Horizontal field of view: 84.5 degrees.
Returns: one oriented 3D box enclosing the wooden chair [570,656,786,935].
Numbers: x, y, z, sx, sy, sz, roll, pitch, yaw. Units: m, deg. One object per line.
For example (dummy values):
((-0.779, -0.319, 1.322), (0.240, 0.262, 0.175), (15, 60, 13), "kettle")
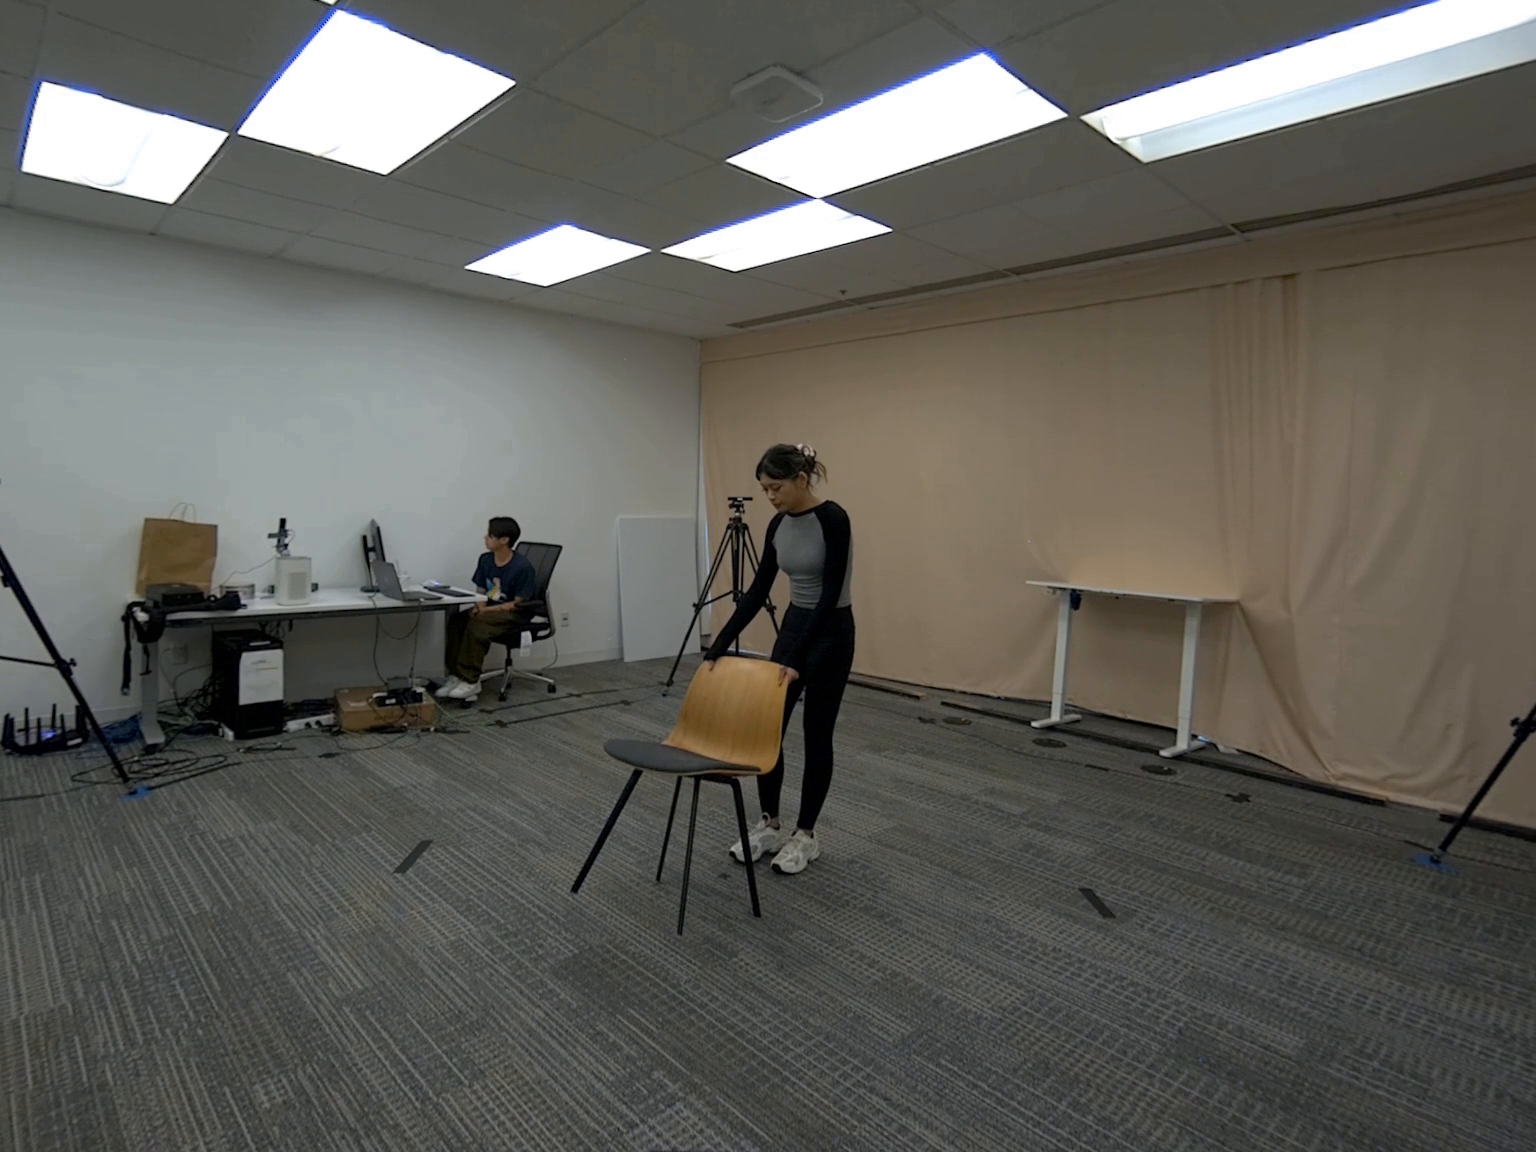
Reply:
((-0.264, 0.663, 2.800), (0.489, 0.883, 0.507), (4, -16, 34), "wooden chair")
